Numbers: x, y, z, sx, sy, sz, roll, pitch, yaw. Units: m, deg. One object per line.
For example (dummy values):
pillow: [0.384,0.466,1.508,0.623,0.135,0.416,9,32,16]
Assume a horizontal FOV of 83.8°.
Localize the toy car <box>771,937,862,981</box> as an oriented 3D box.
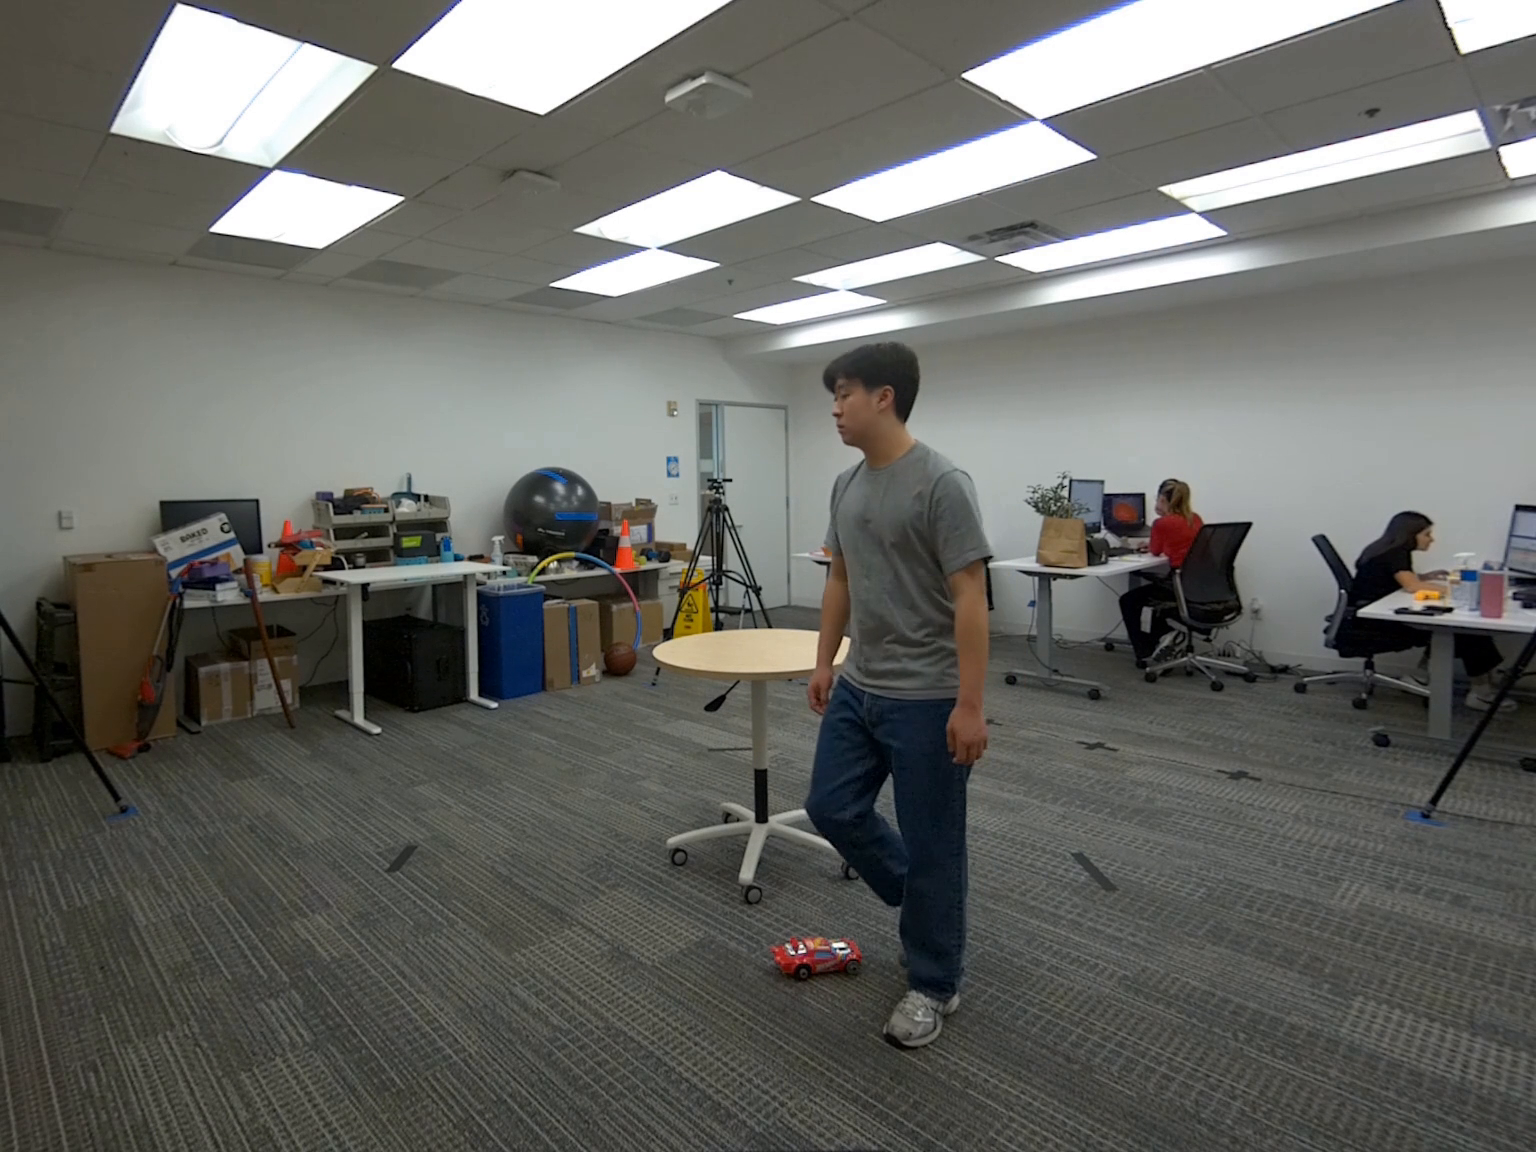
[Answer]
toy car: [0.141,1.092,2.432,0.251,0.083,0.132,9,3,-12]
